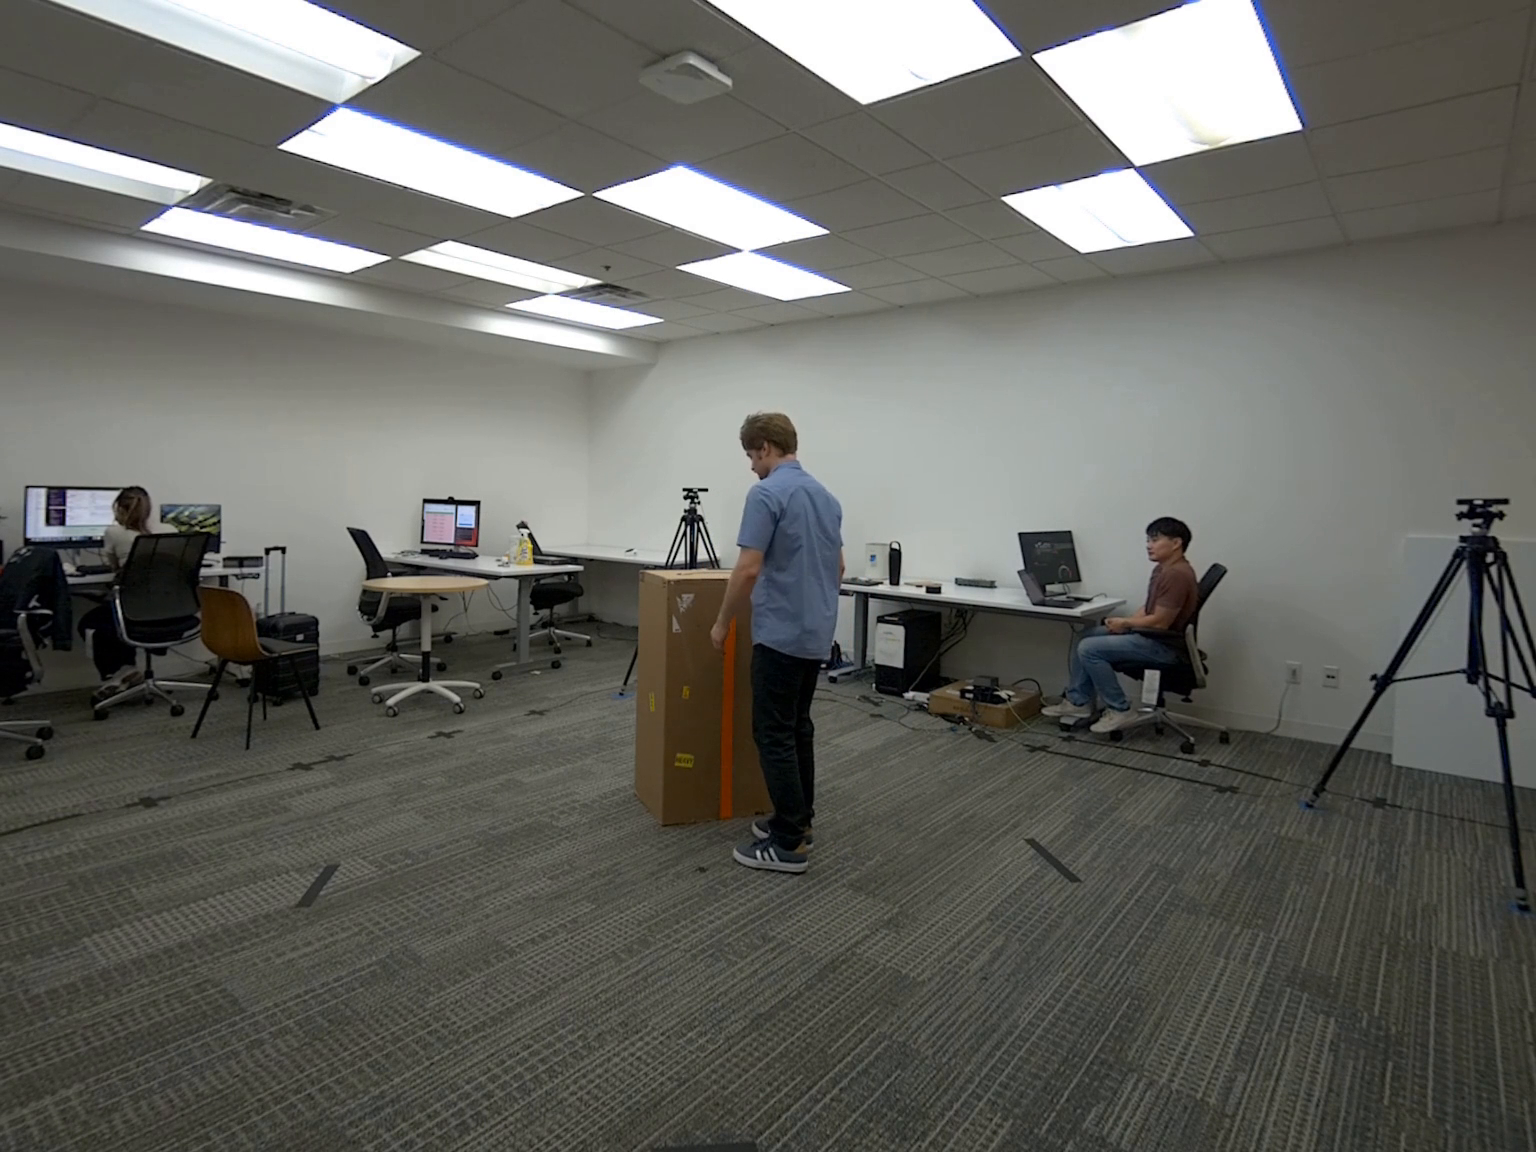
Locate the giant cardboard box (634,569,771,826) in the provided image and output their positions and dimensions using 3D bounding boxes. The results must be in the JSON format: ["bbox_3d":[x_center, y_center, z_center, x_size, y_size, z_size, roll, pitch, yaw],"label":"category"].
[{"bbox_3d":[-0.262,0.499,3.774,0.571,1.025,0.458,0,2,-24],"label":"giant cardboard box"}]
